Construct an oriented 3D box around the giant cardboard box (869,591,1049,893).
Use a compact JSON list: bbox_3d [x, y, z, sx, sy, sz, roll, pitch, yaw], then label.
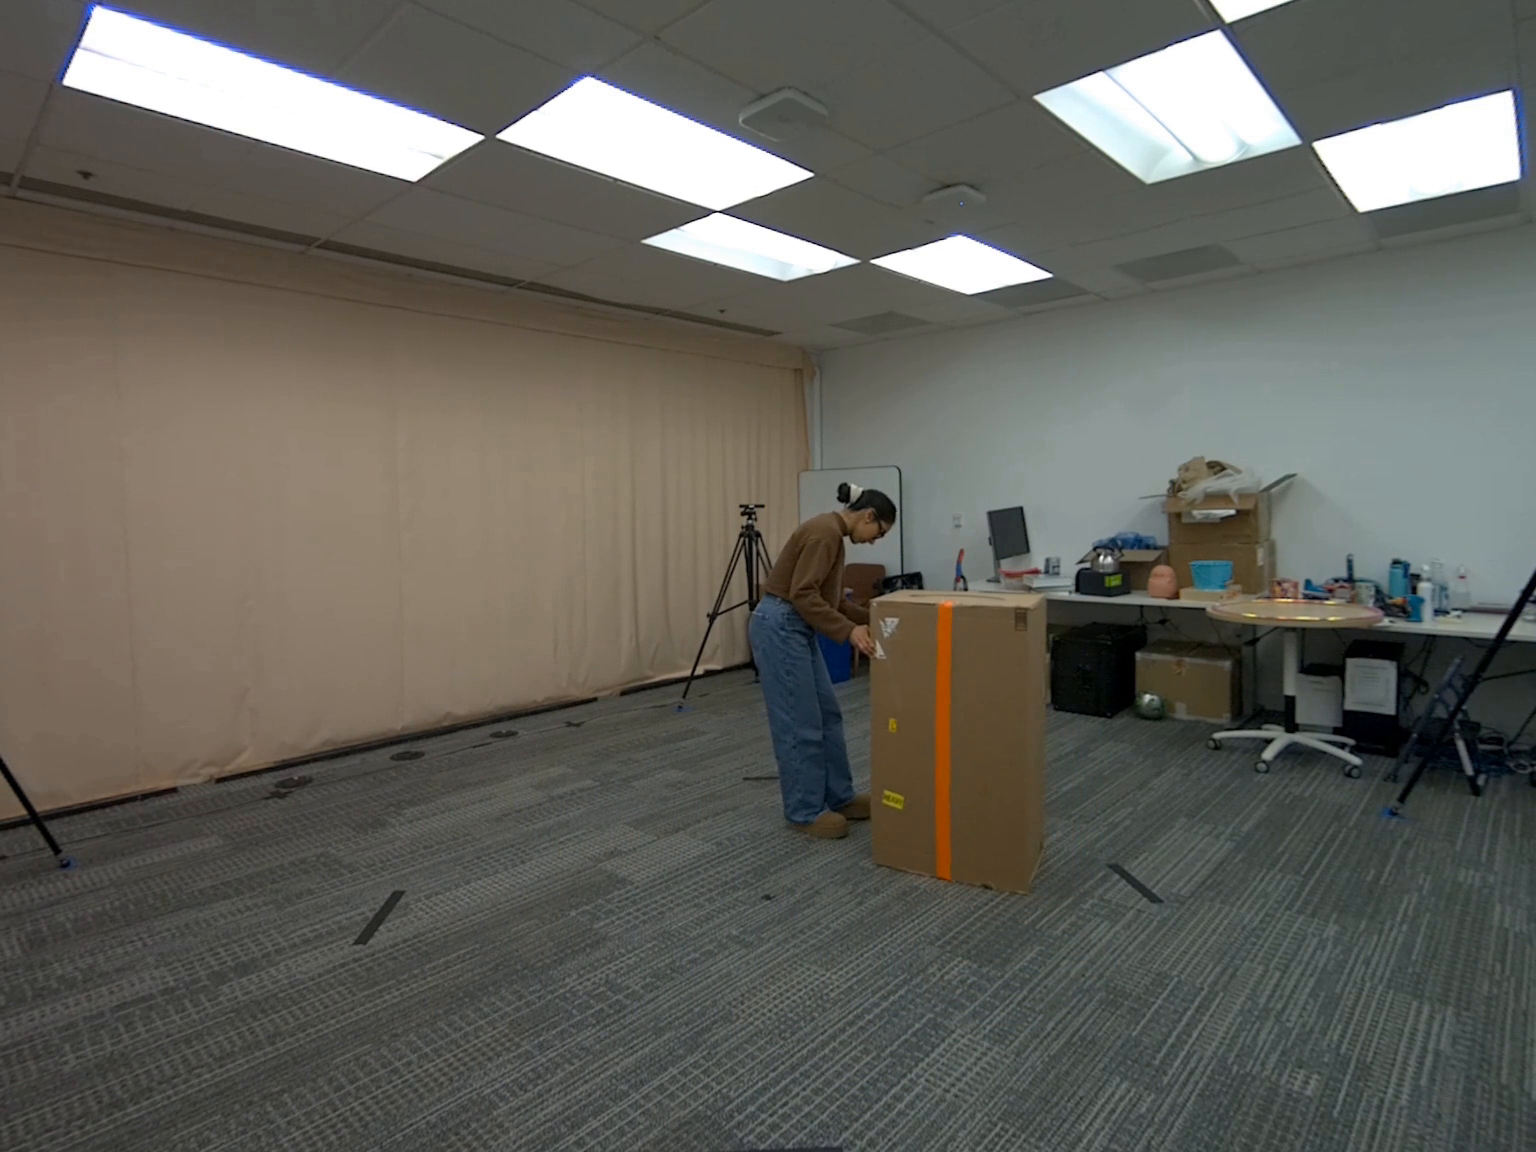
[{"bbox_3d":[0.744,0.594,3.246,0.594,1.023,0.415,1,4,29],"label":"giant cardboard box"}]
